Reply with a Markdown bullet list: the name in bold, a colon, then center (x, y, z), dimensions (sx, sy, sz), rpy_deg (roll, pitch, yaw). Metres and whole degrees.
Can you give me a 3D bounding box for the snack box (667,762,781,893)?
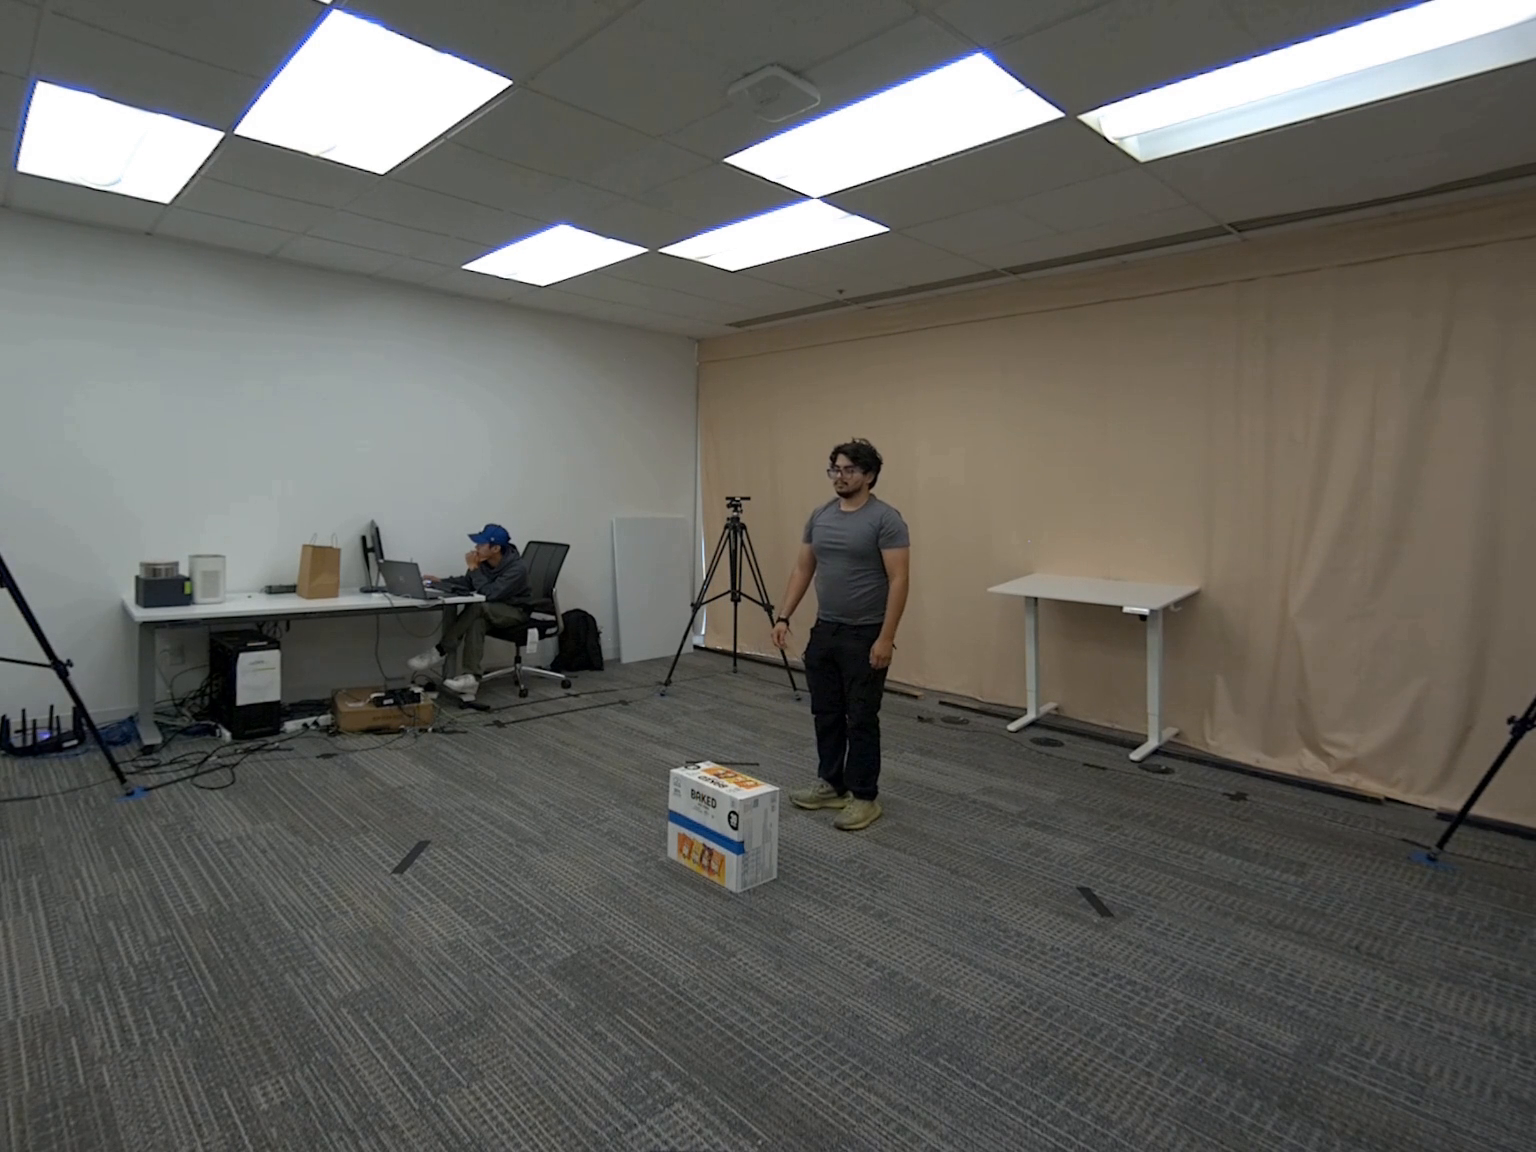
- **snack box**: center (-0.178, 0.930, 3.167), dimensions (0.201, 0.339, 0.415), rpy_deg (-1, 5, -43)
